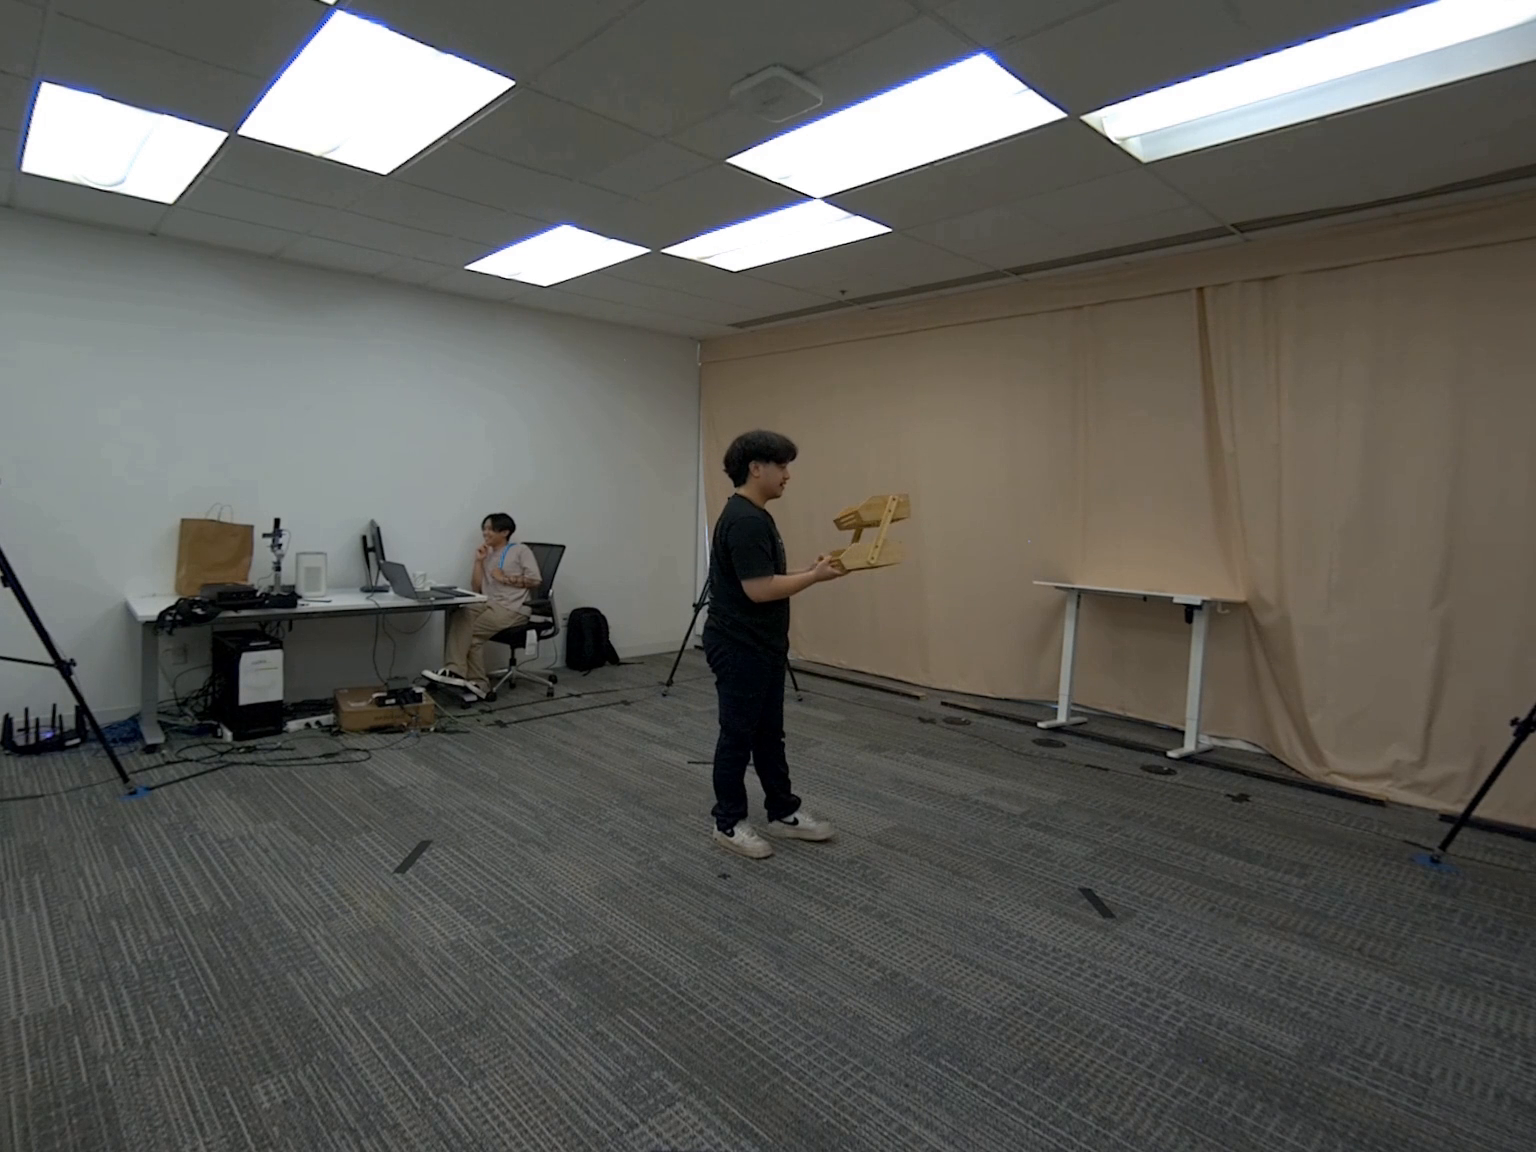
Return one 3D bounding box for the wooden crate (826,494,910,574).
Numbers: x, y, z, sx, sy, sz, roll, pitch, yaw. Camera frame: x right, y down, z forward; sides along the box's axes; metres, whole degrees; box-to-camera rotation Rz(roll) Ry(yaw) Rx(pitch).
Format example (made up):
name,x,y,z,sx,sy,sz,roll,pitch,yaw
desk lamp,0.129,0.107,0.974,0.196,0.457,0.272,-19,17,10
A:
name,x,y,z,sx,sy,sz,roll,pitch,yaw
wooden crate,0.354,-0.164,3.277,0.299,0.274,0.326,-6,-3,-12
